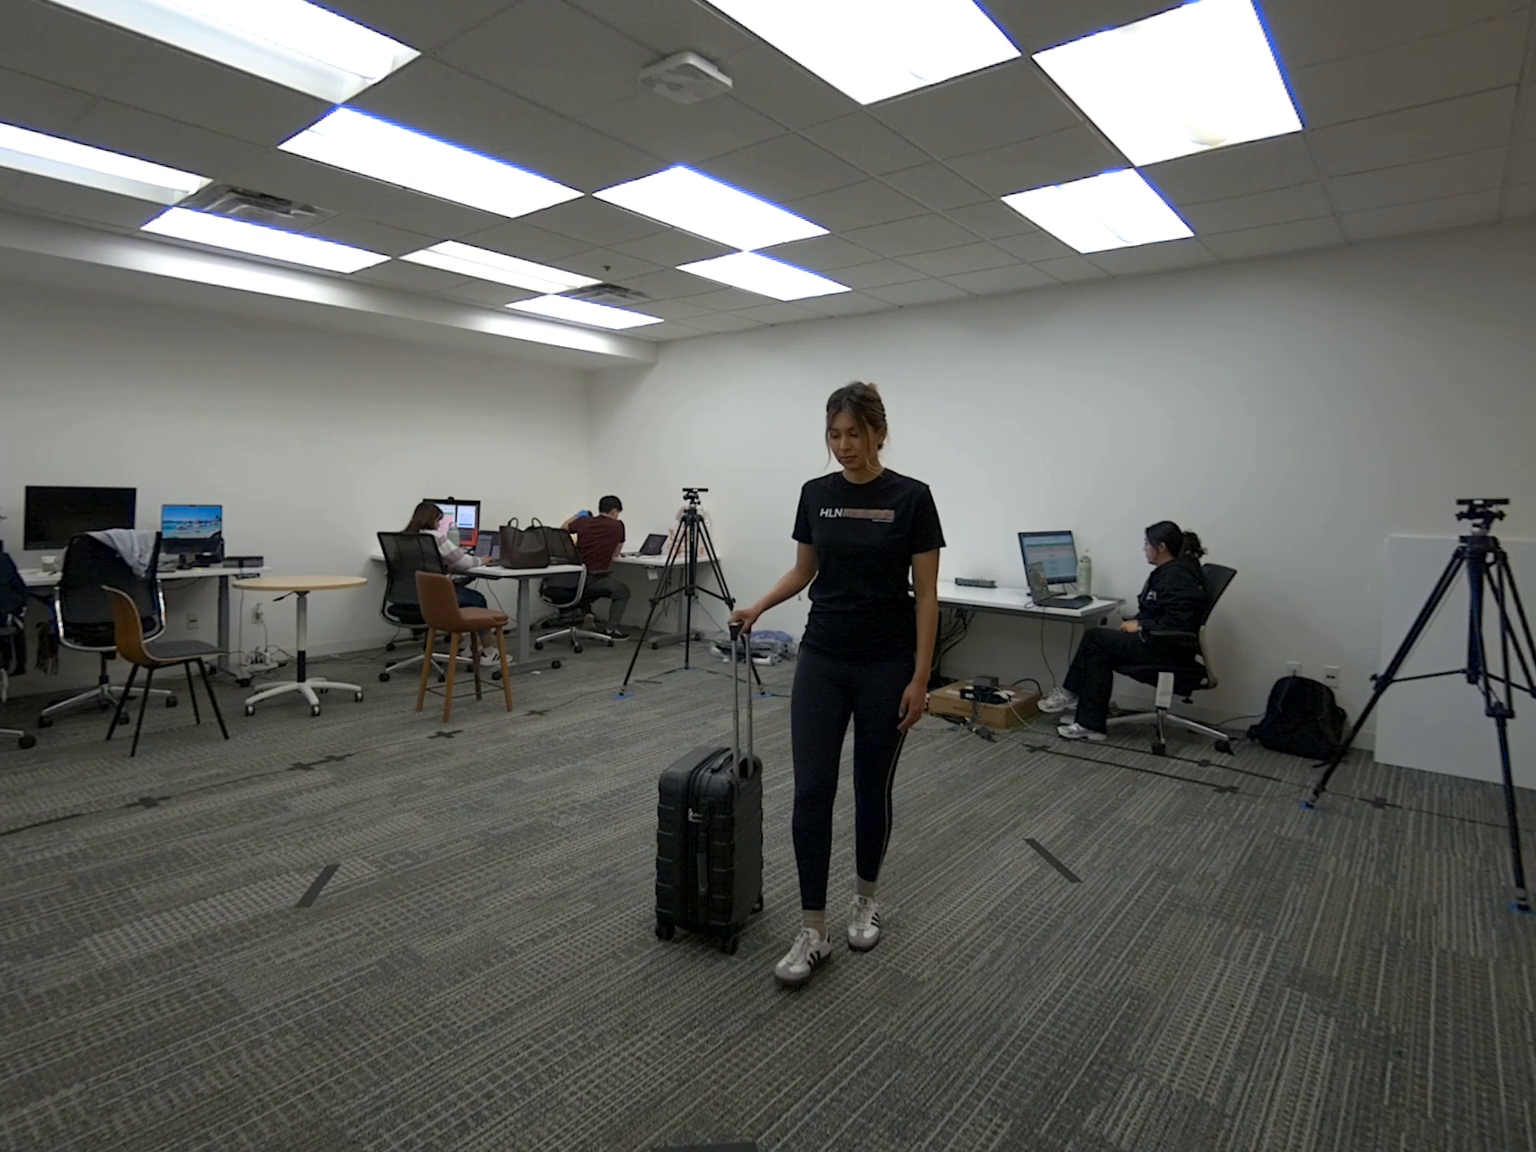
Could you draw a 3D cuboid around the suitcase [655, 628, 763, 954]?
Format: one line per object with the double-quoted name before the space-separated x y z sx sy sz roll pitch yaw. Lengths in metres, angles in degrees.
"suitcase" -0.194 0.635 2.682 0.262 0.975 0.378 -1 4 17
